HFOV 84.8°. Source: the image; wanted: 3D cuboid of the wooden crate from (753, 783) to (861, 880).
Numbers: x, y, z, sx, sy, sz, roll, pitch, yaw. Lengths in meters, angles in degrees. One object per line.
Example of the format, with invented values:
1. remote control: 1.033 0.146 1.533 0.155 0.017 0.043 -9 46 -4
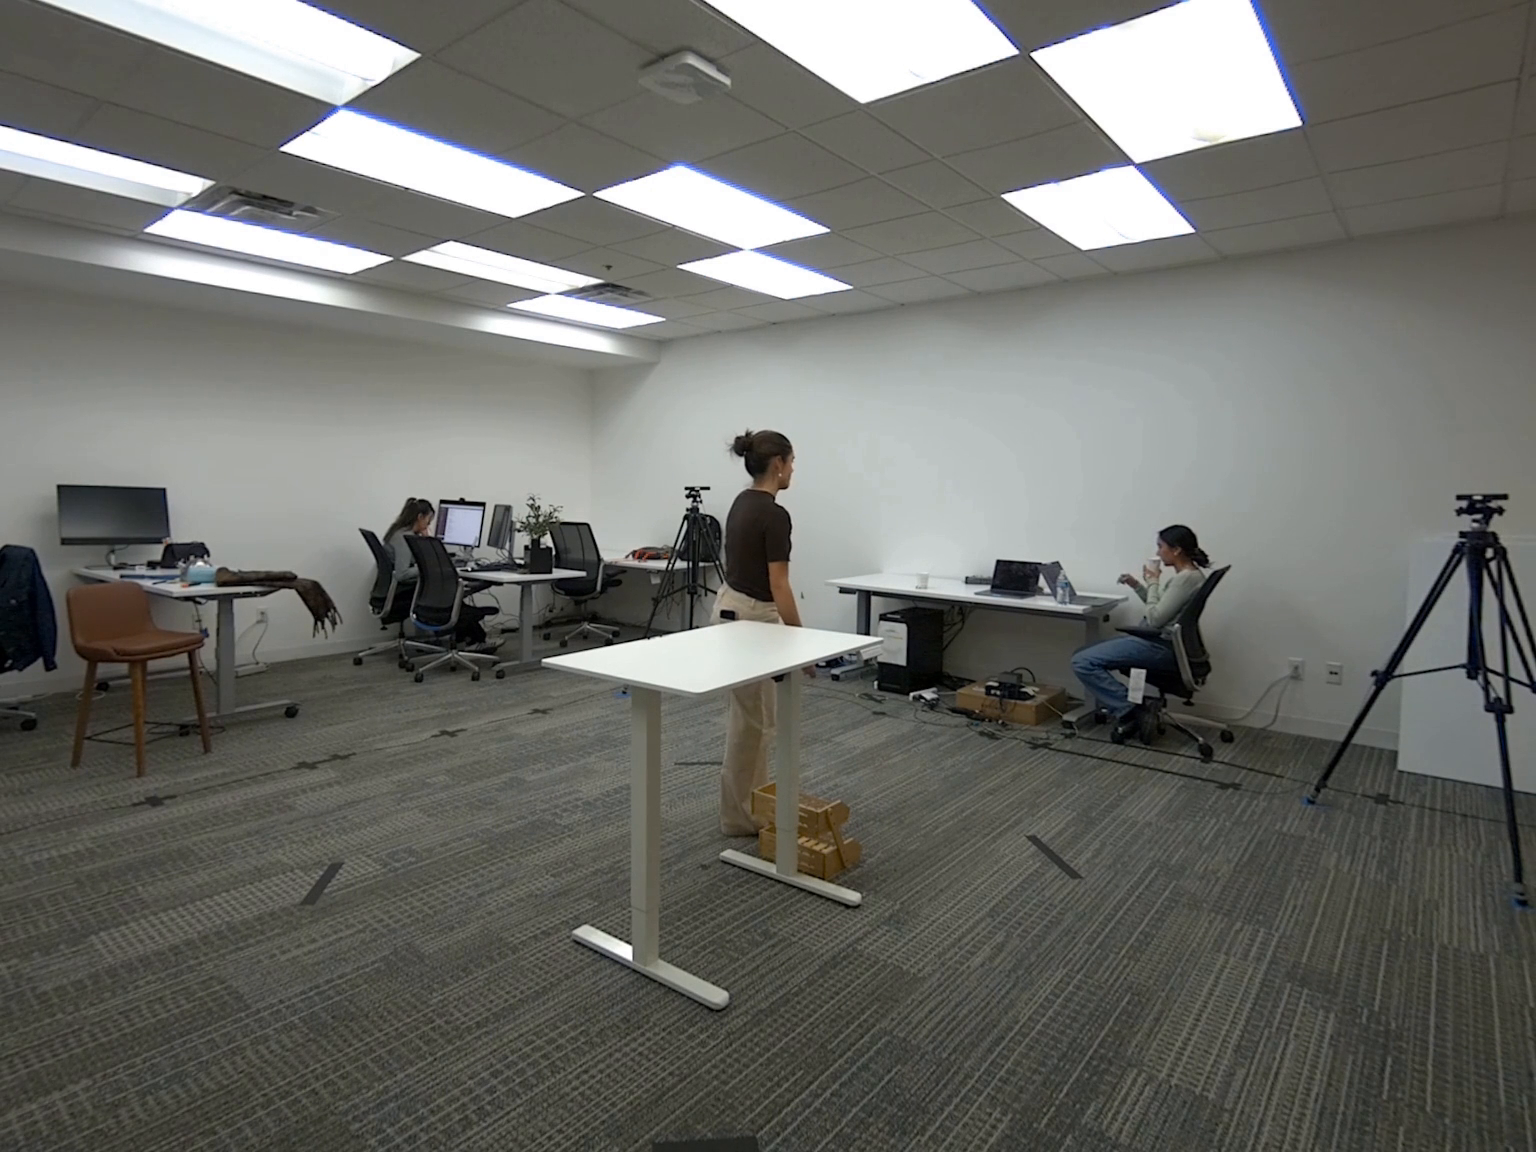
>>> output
1. wooden crate: 0.136 0.928 3.200 0.335 0.272 0.293 5 6 38
